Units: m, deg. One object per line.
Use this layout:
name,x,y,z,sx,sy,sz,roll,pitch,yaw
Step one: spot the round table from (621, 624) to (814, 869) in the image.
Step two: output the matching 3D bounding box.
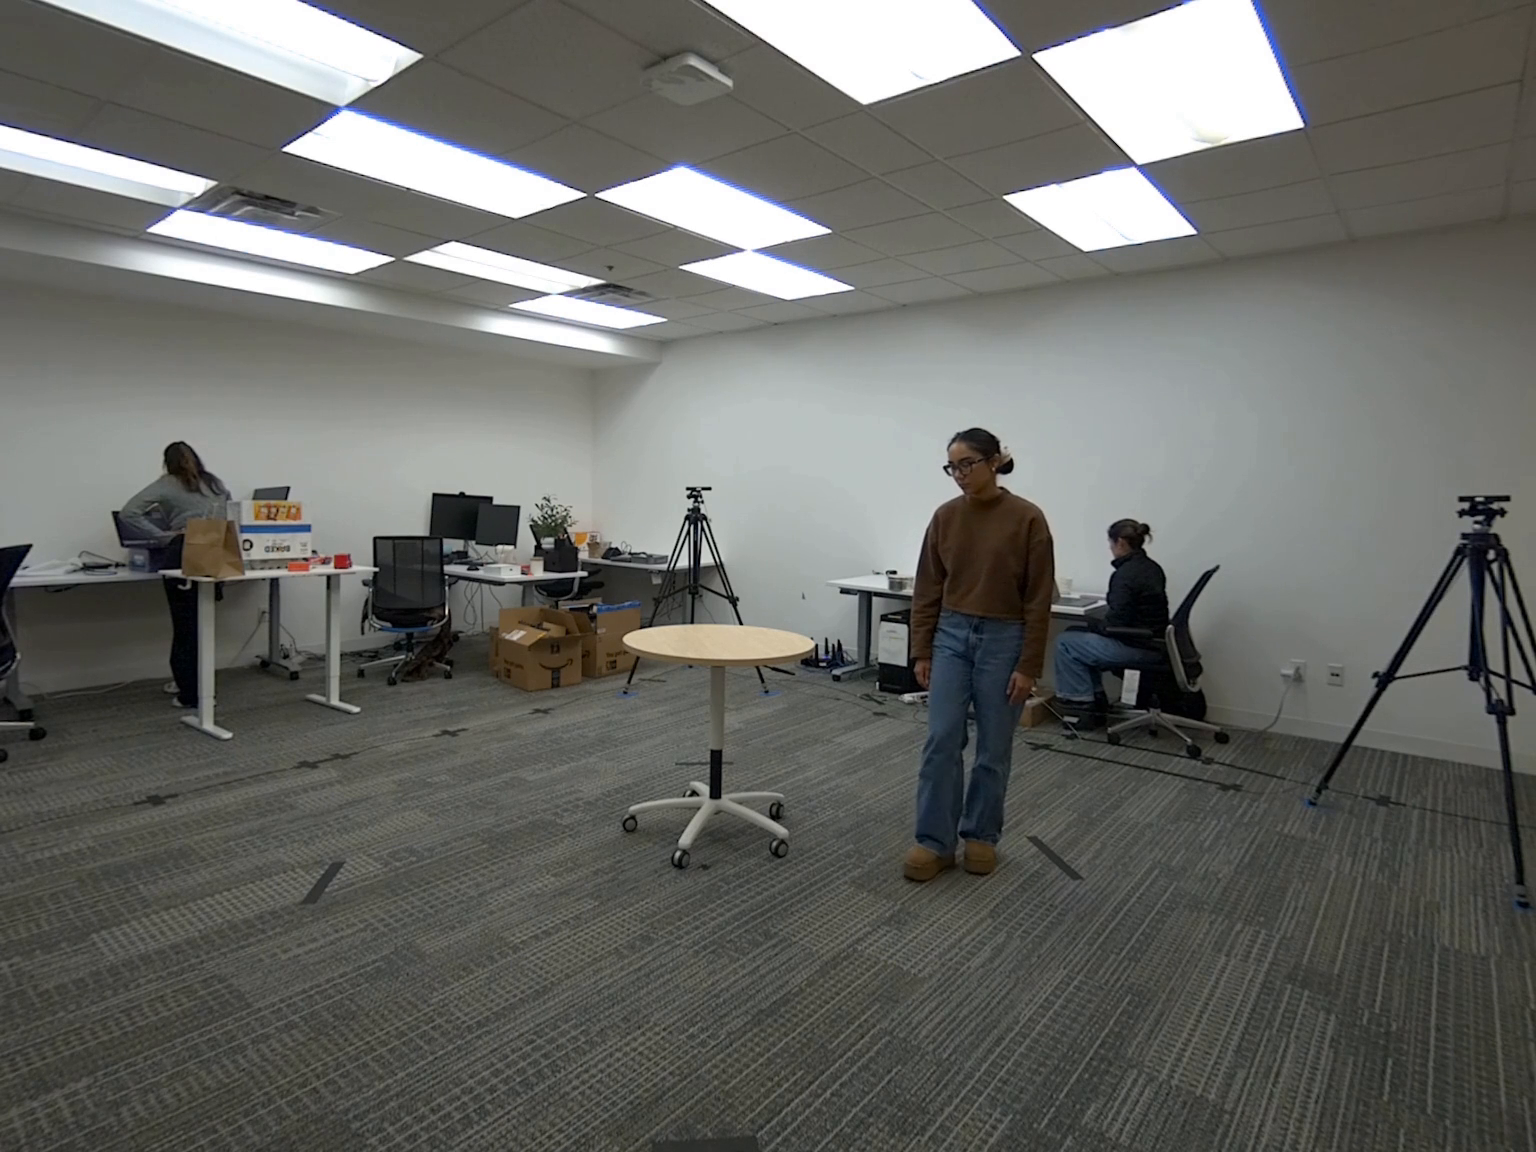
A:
round table,-0.215,0.645,3.422,0.763,0.791,0.768,1,4,-2
